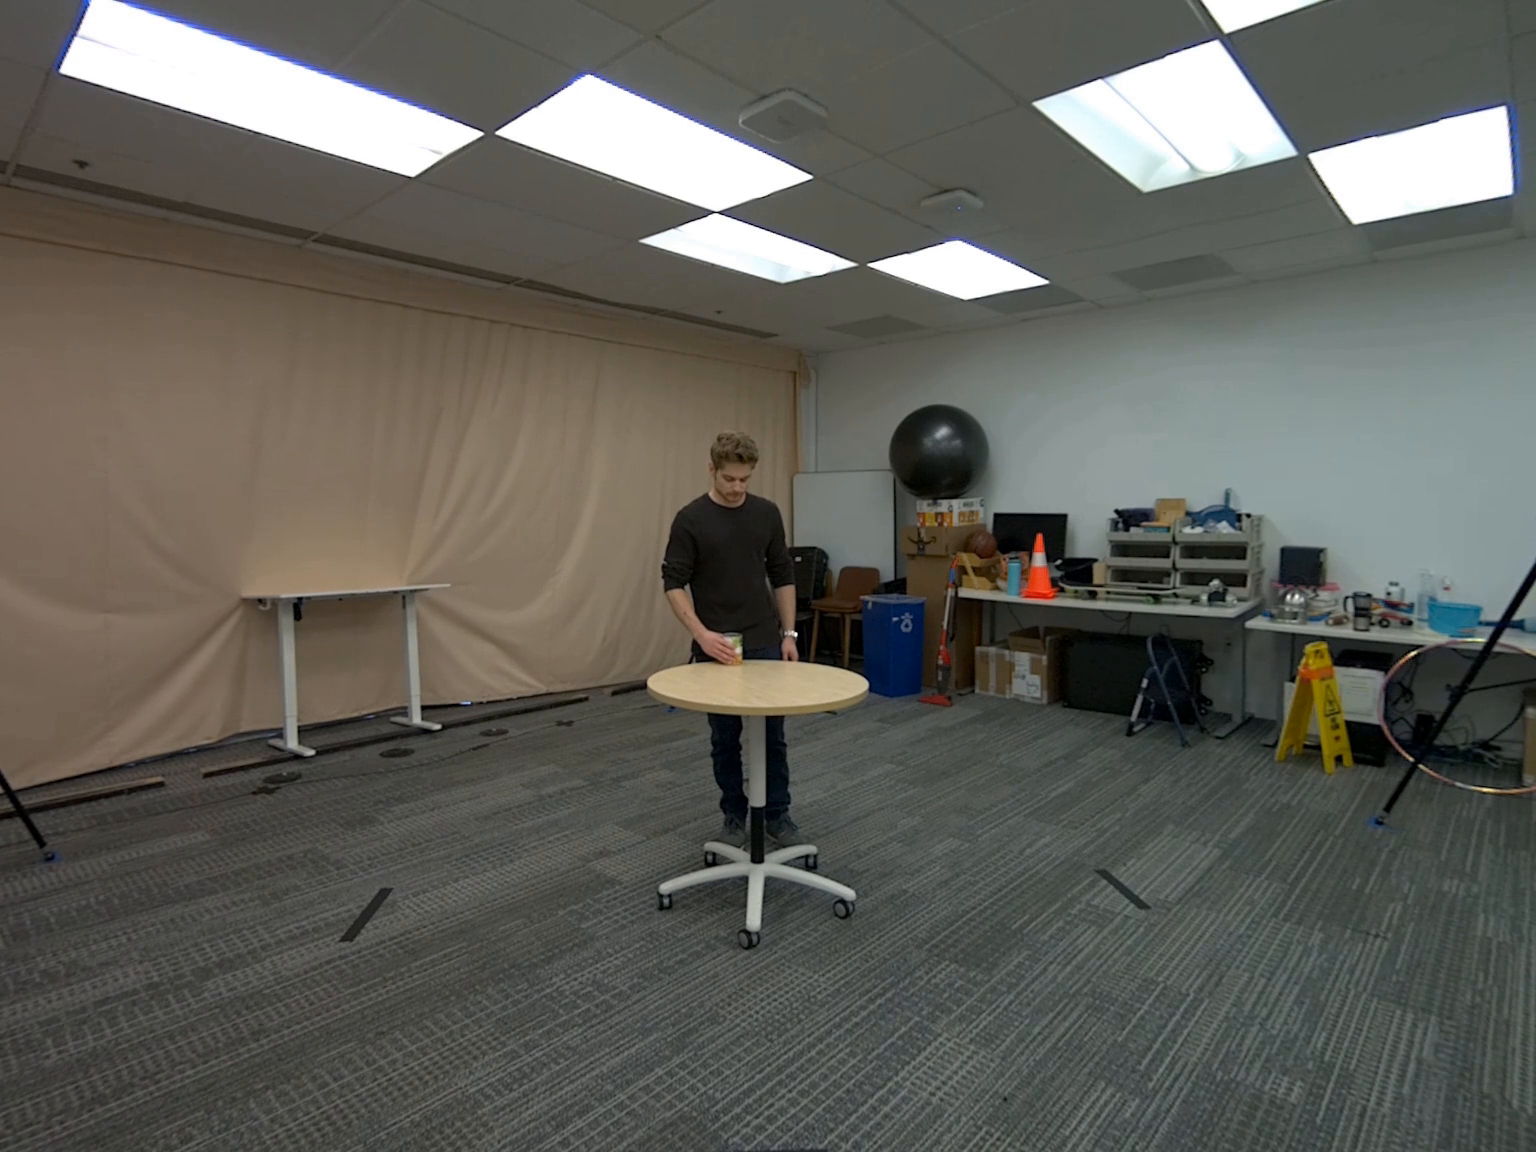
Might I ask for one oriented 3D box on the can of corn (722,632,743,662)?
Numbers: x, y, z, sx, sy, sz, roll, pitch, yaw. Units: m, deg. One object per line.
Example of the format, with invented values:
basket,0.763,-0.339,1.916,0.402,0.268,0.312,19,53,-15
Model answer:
can of corn,-0.135,0.280,3.237,0.074,0.110,0.074,-3,6,-1
